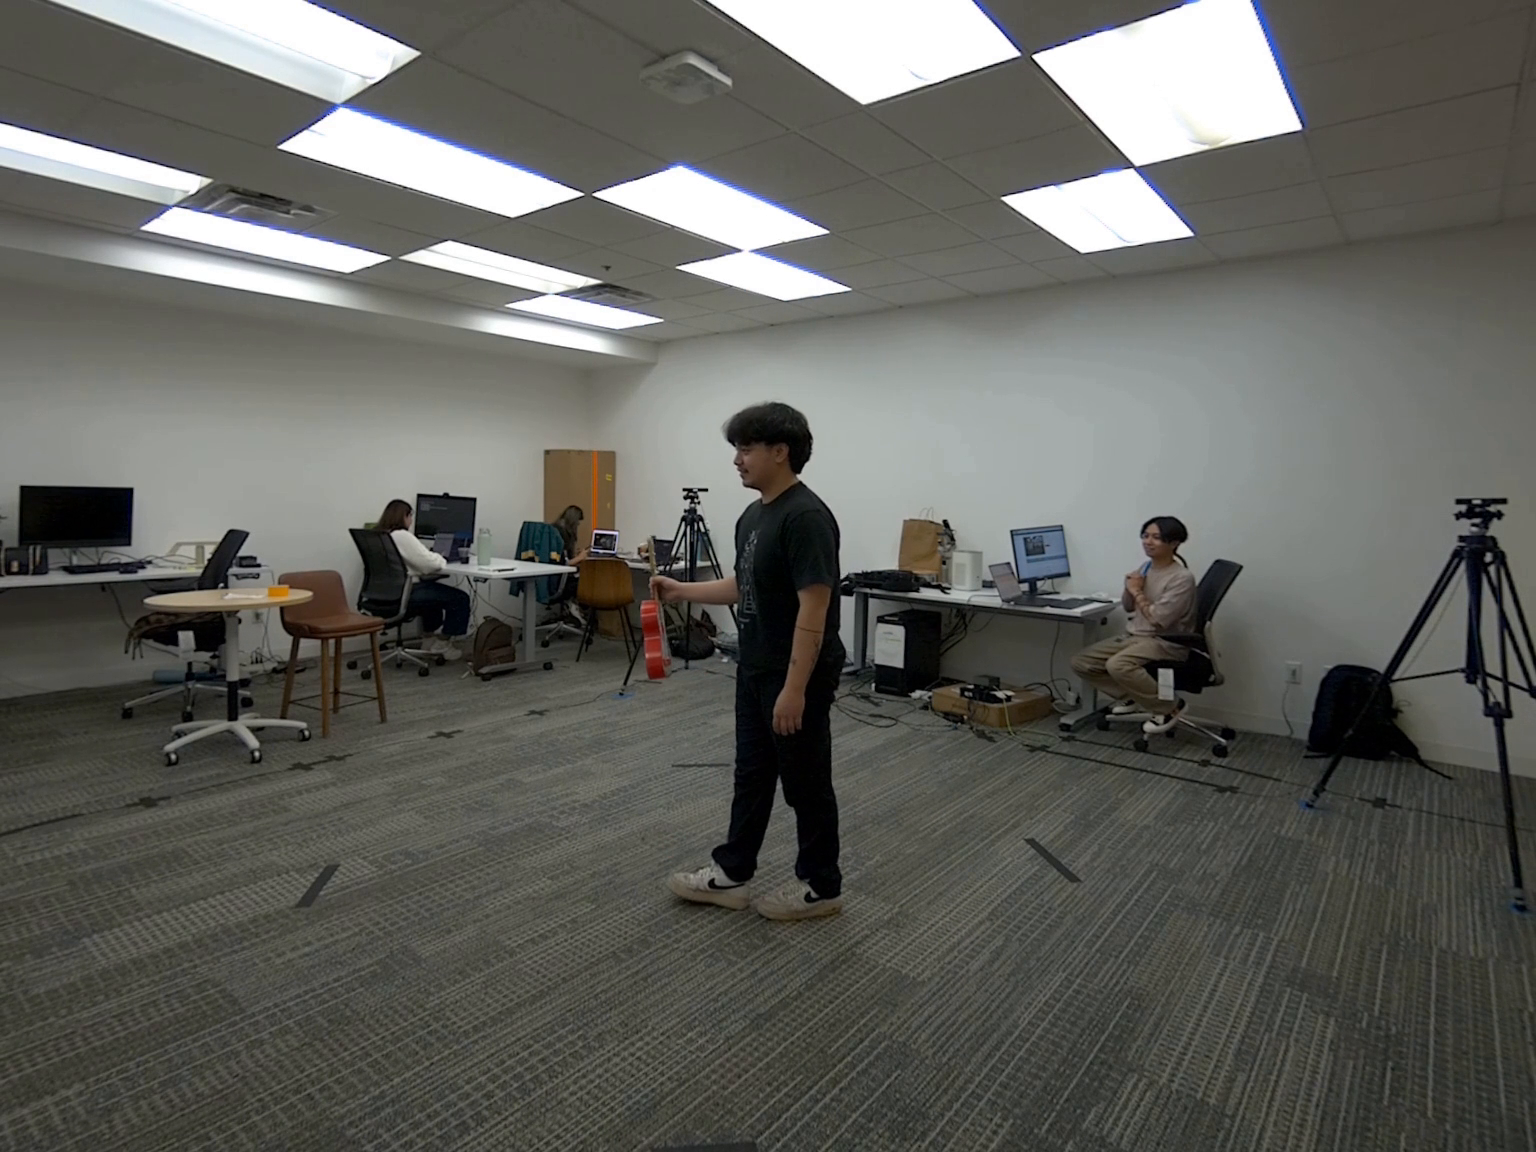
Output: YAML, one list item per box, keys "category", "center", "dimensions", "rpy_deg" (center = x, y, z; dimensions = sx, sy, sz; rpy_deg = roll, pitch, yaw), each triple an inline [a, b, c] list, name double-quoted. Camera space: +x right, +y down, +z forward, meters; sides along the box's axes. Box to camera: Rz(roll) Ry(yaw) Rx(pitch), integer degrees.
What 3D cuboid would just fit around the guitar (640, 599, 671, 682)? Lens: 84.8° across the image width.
- category: "guitar"
  center: [-0.418, 0.117, 3.019]
  dimensions: [0.070, 0.504, 0.191]
  rpy_deg: [-9, -10, -2]
